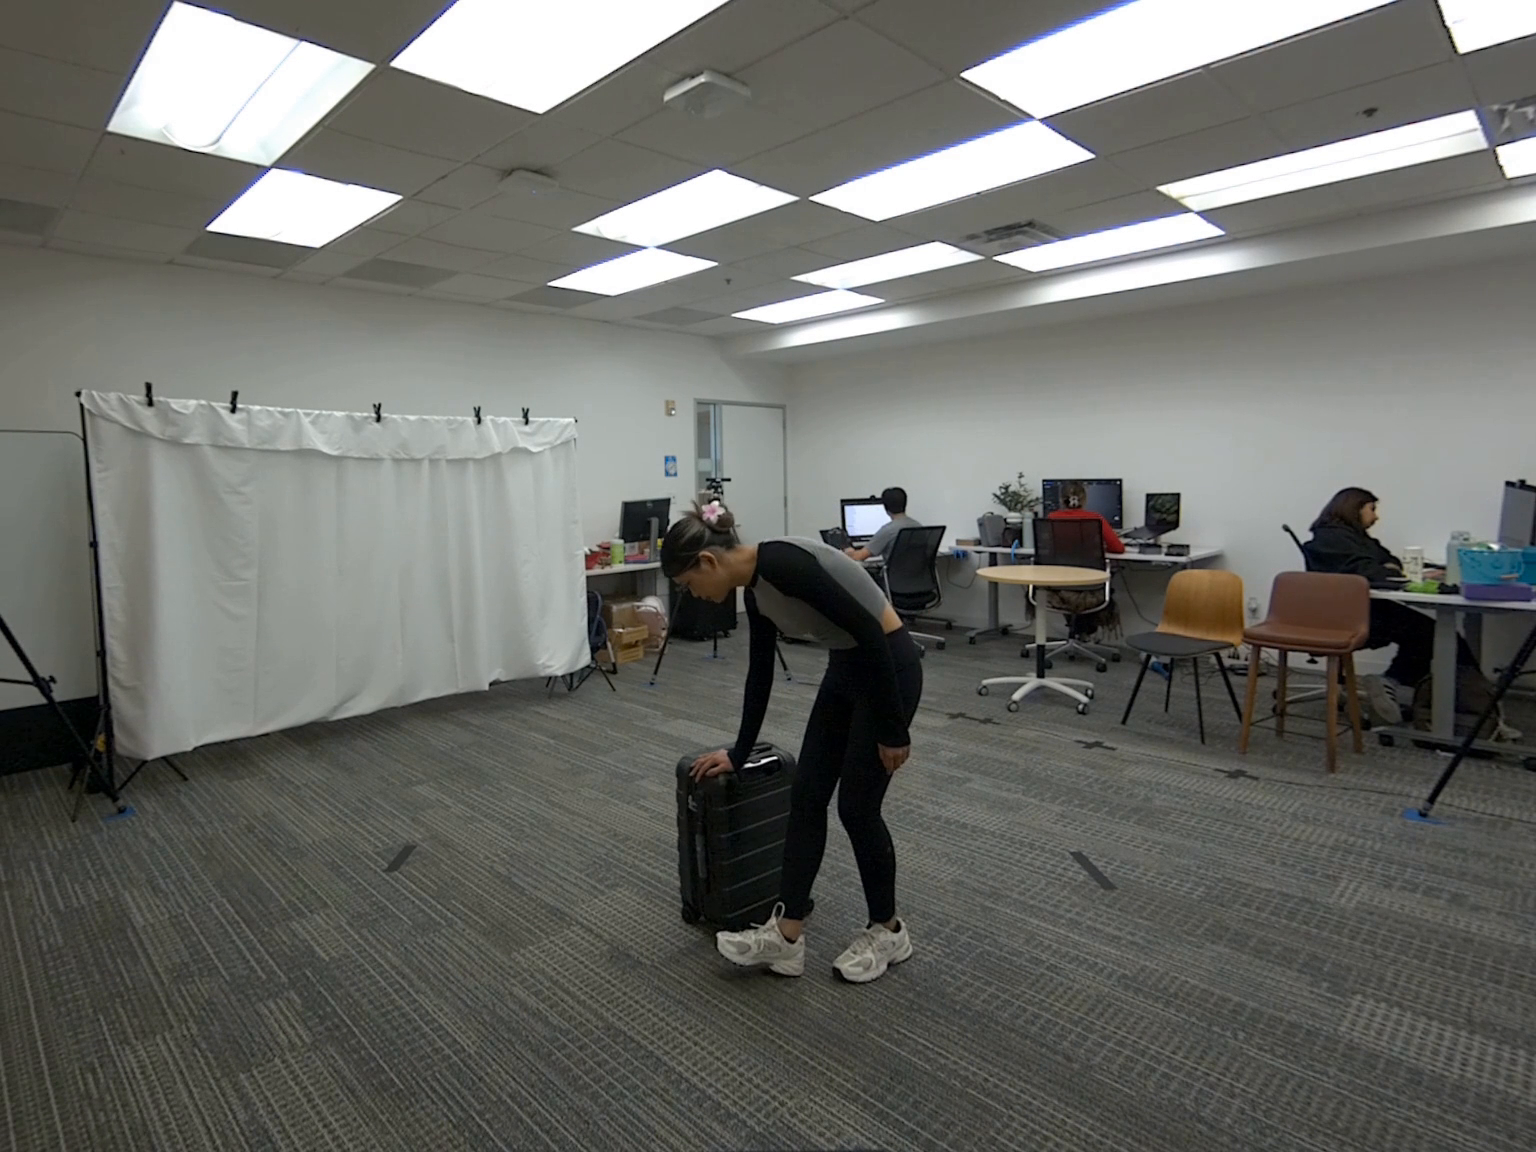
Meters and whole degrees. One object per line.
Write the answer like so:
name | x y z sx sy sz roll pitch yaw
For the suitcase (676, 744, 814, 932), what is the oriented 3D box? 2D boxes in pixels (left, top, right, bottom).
suitcase | -0.089 0.814 2.708 0.366 0.547 0.255 -6 5 -39
